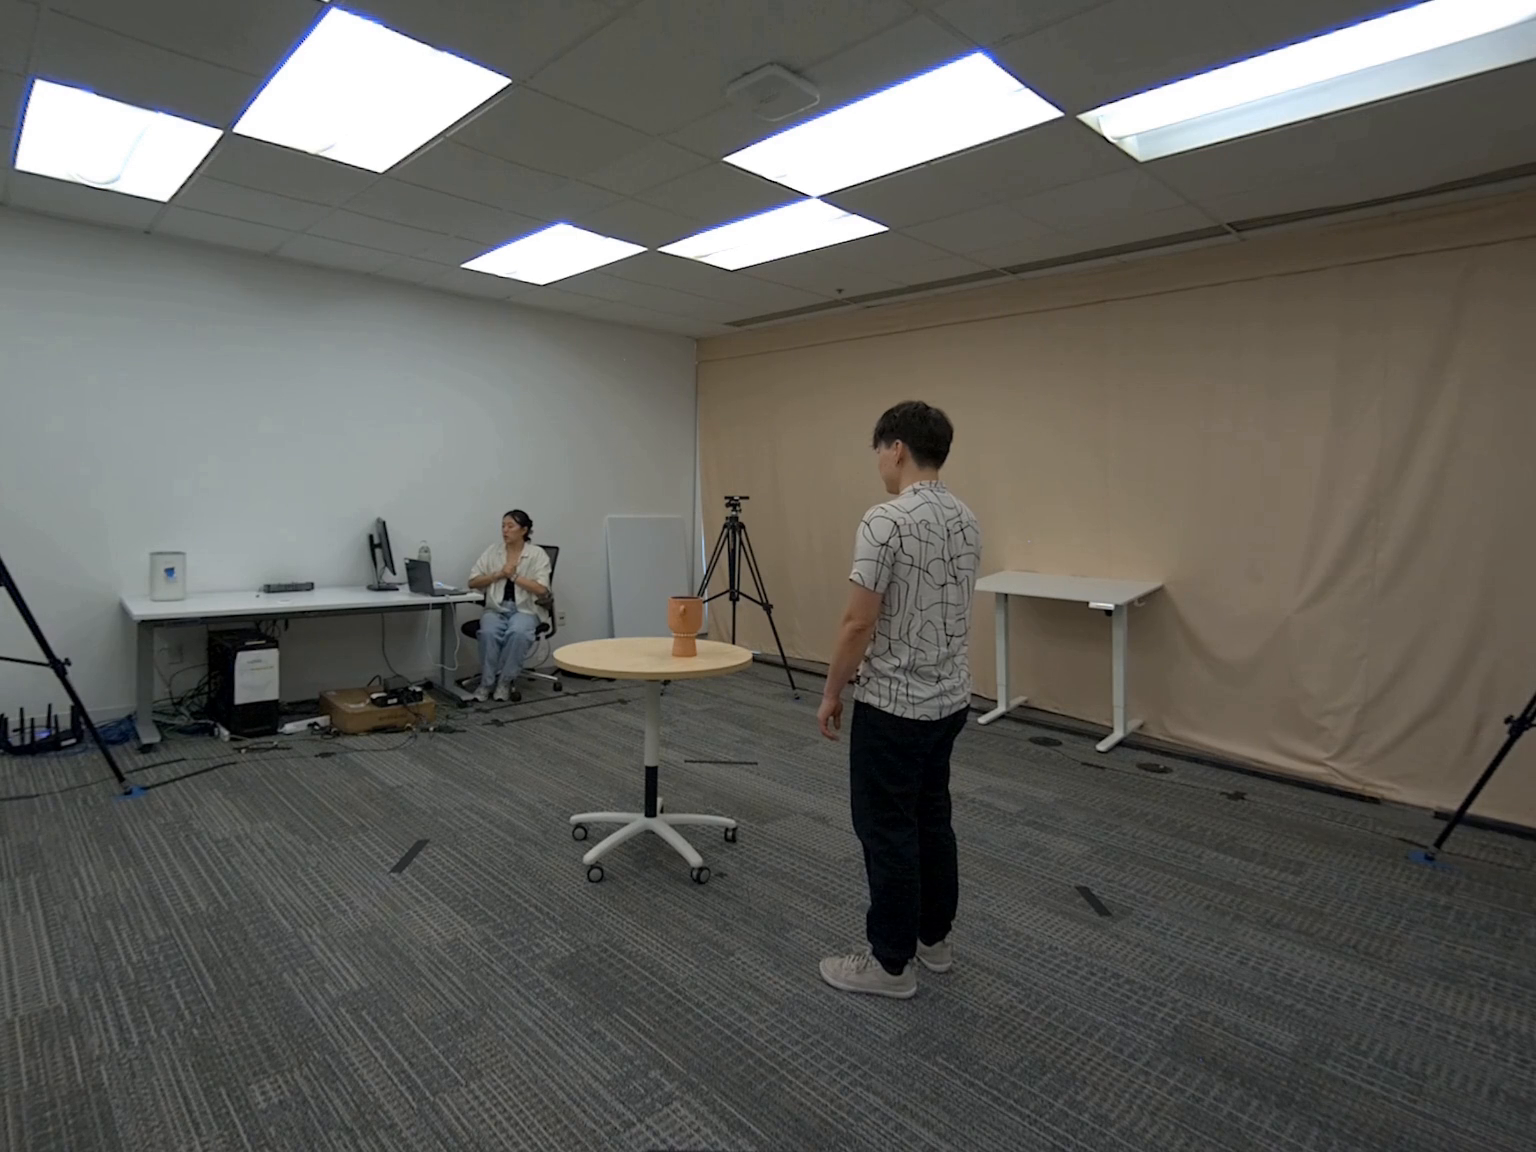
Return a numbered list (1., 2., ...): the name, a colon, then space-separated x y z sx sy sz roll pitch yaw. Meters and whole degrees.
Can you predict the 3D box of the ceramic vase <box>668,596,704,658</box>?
1. ceramic vase: -0.326 0.195 3.228 0.138 0.219 0.155 4 4 45
